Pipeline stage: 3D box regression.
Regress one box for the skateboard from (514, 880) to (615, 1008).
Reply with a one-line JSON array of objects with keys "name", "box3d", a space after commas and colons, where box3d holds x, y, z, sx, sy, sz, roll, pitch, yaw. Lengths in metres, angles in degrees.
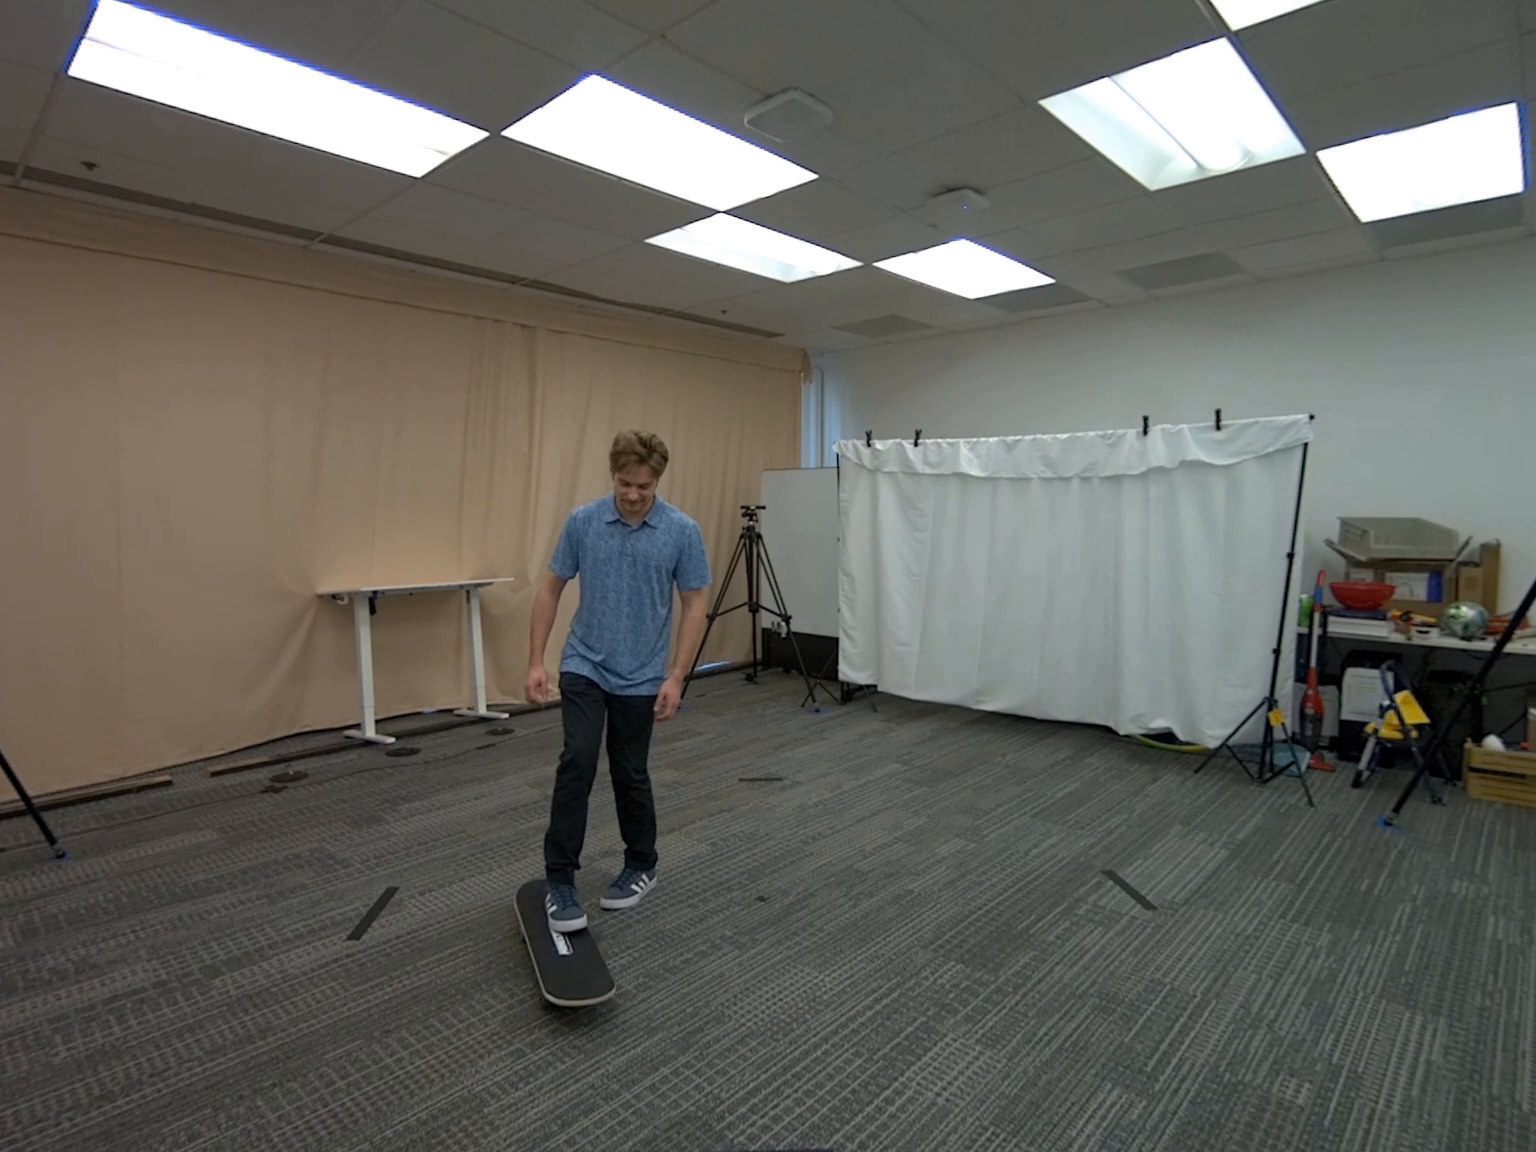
[{"name": "skateboard", "box3d": [-0.626, 1.123, 2.551, 0.189, 0.110, 0.804, -1, 4, -23]}]
